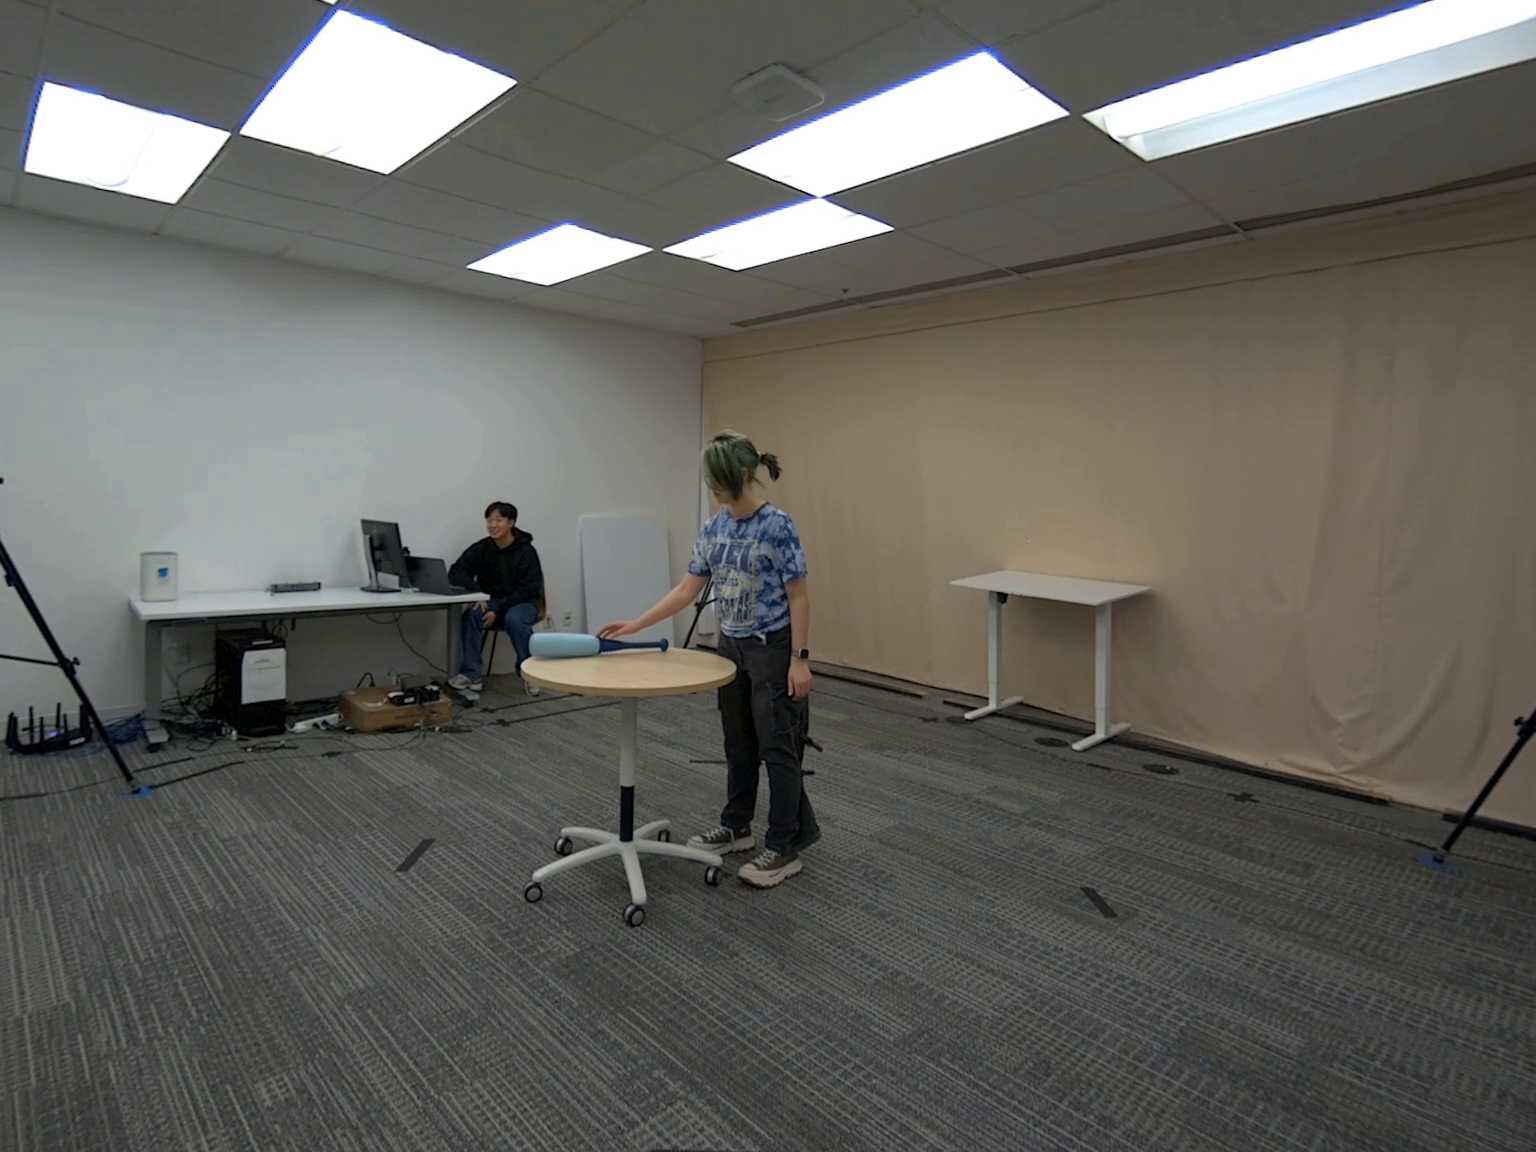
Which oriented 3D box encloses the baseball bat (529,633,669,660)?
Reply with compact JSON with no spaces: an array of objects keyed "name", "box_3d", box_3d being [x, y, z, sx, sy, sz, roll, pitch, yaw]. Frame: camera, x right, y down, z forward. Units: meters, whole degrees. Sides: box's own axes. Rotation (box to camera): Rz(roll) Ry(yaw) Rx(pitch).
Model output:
[{"name":"baseball bat","box_3d":[-0.632,0.264,3.183,0.532,0.089,0.091,3,3,-28]}]
